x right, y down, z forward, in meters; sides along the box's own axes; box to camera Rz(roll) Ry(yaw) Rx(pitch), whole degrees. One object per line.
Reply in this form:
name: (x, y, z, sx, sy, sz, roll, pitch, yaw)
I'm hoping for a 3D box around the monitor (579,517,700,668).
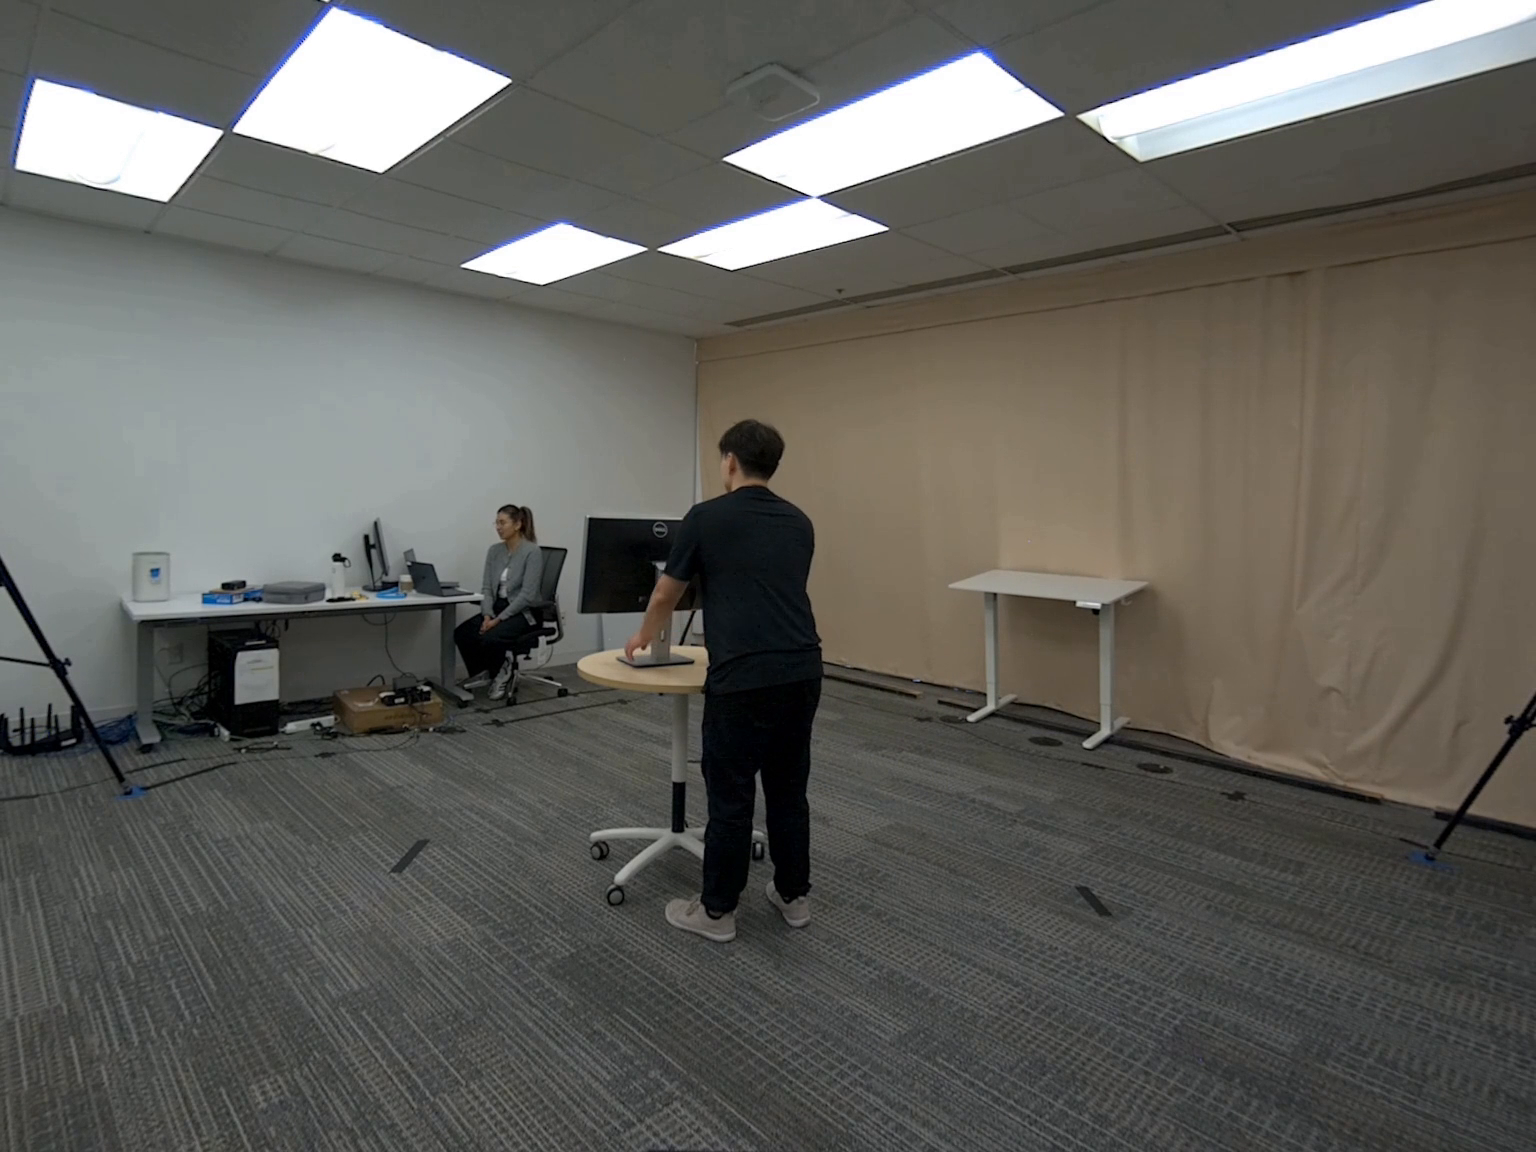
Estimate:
monitor: (-0.419, 0.057, 3.132, 0.527, 0.522, 0.191, 0, 2, -34)
